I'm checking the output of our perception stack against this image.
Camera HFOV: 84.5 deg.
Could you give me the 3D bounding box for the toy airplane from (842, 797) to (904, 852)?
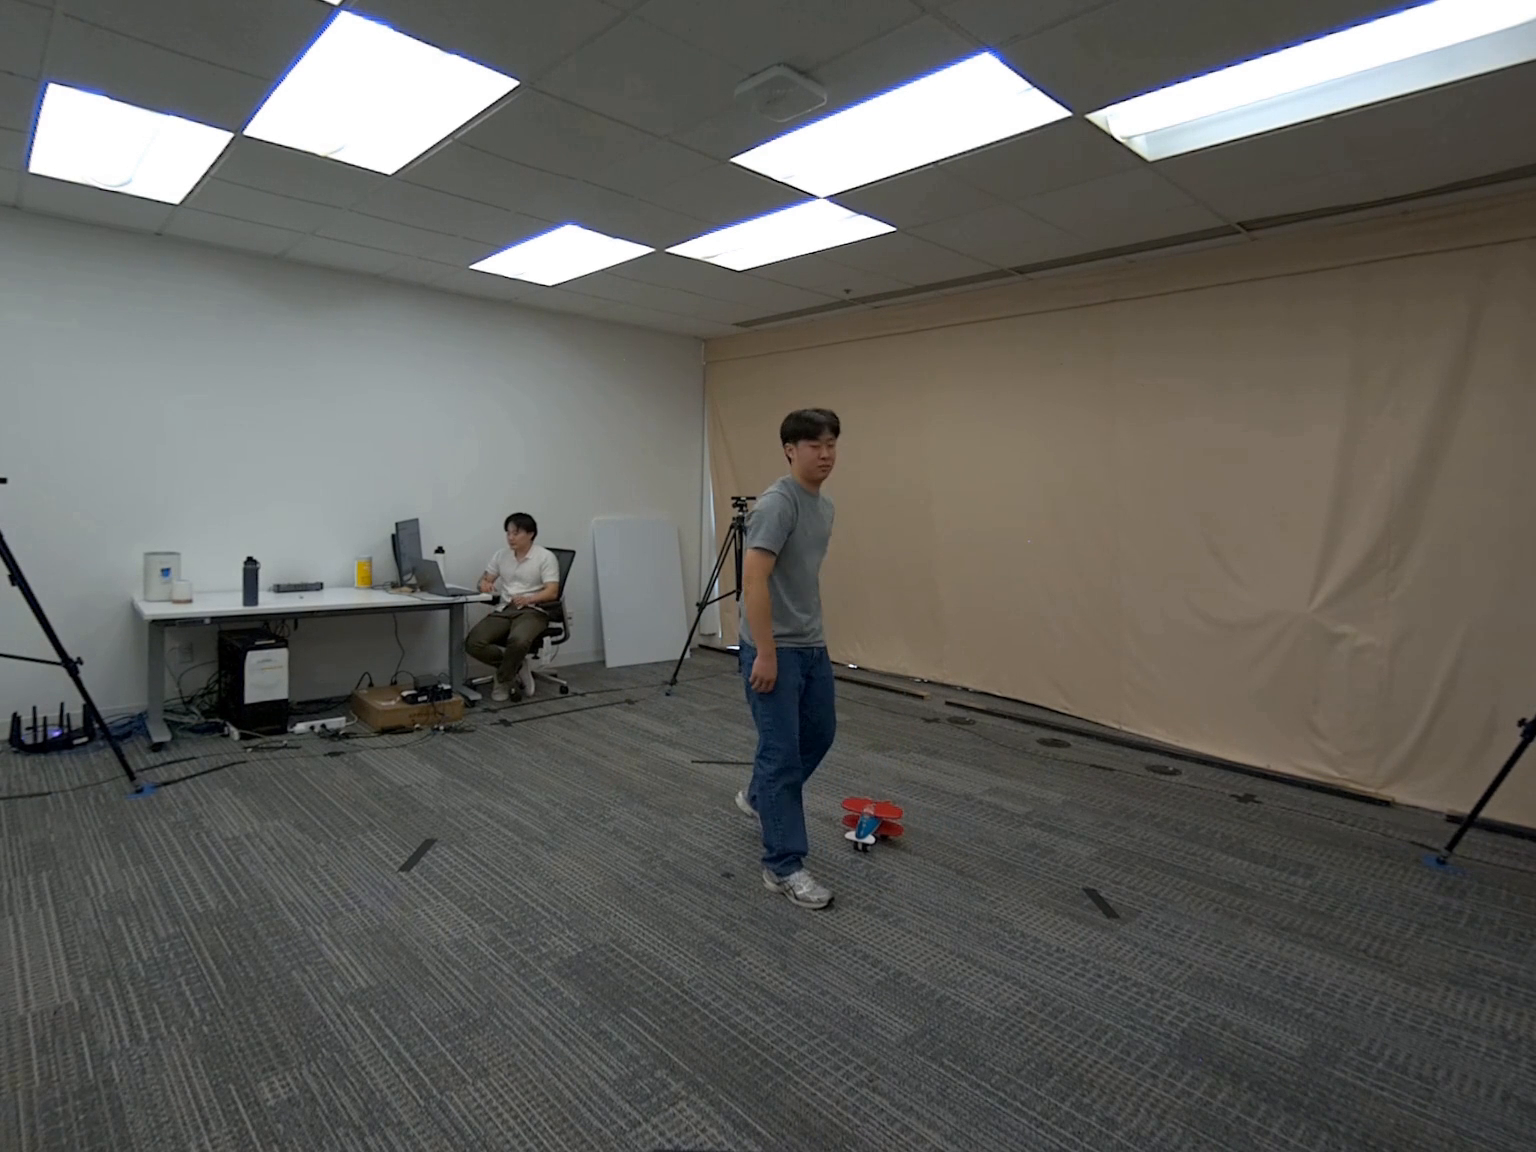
[{"bbox_3d":[0.421,1.017,3.427,0.251,0.156,0.260,1,3,-2],"label":"toy airplane"}]
